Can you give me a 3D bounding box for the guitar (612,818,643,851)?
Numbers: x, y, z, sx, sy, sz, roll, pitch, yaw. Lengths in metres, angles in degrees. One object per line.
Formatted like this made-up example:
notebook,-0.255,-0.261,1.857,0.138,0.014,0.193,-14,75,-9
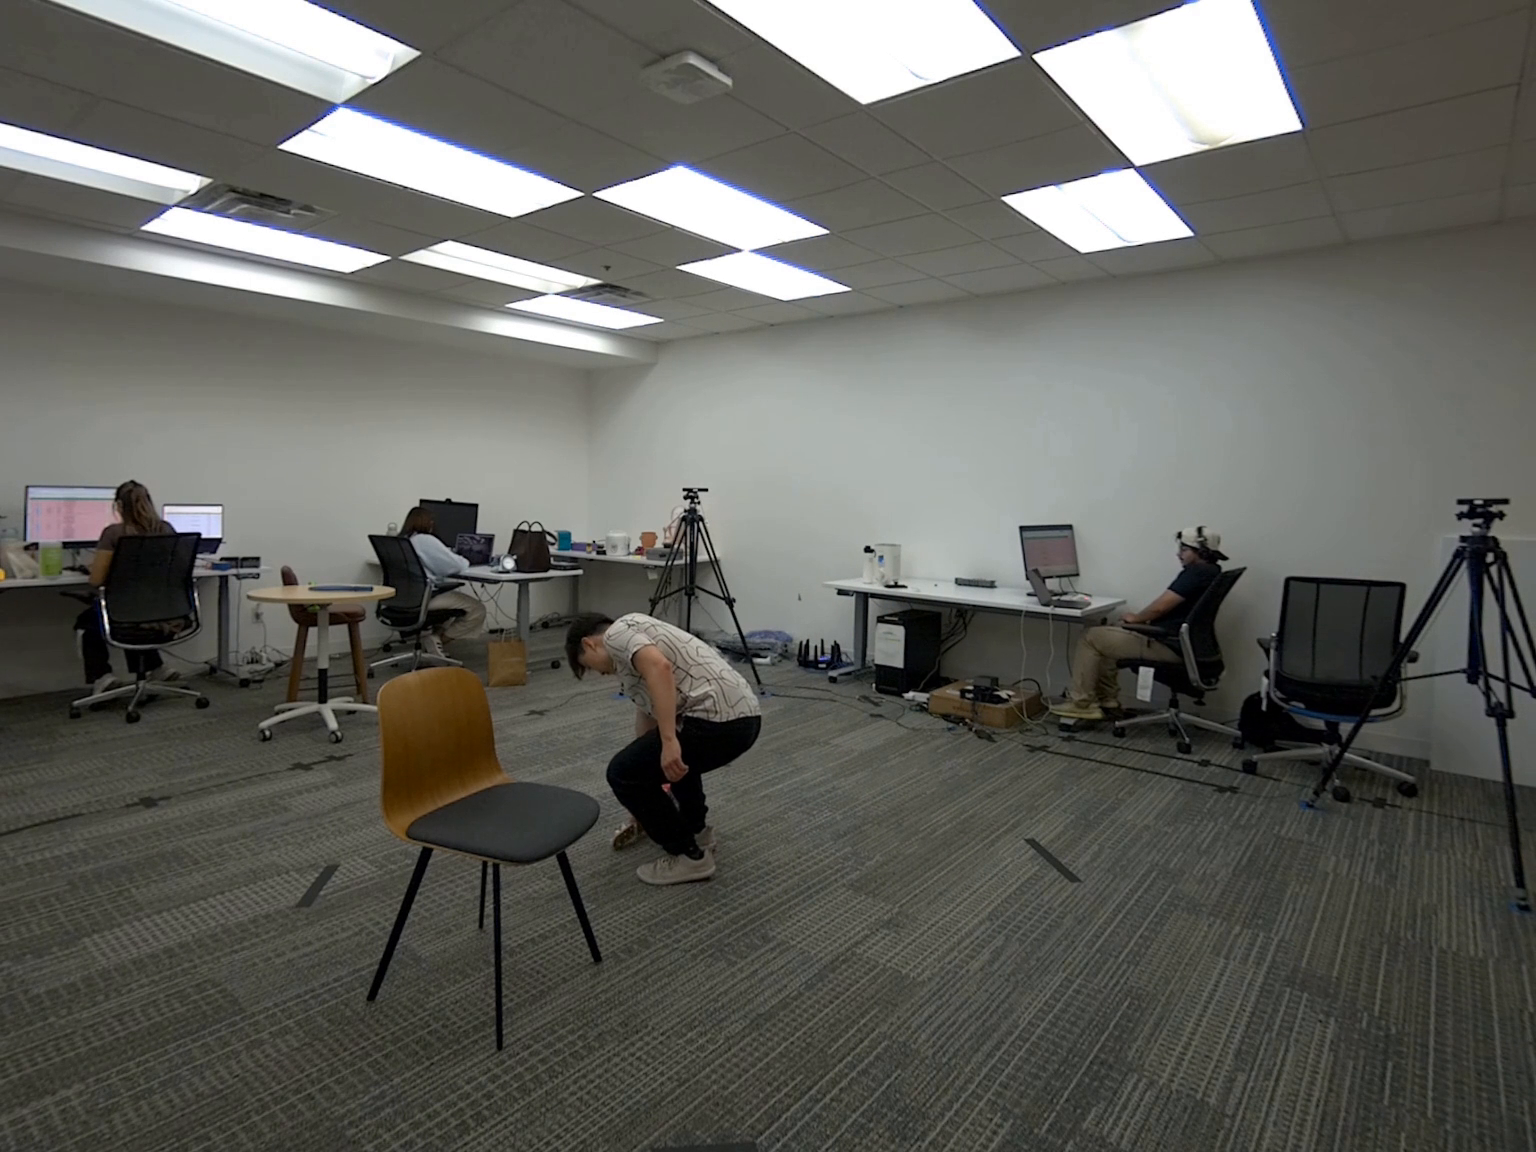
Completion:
guitar,-0.492,0.930,3.458,0.073,0.192,0.485,7,8,30
